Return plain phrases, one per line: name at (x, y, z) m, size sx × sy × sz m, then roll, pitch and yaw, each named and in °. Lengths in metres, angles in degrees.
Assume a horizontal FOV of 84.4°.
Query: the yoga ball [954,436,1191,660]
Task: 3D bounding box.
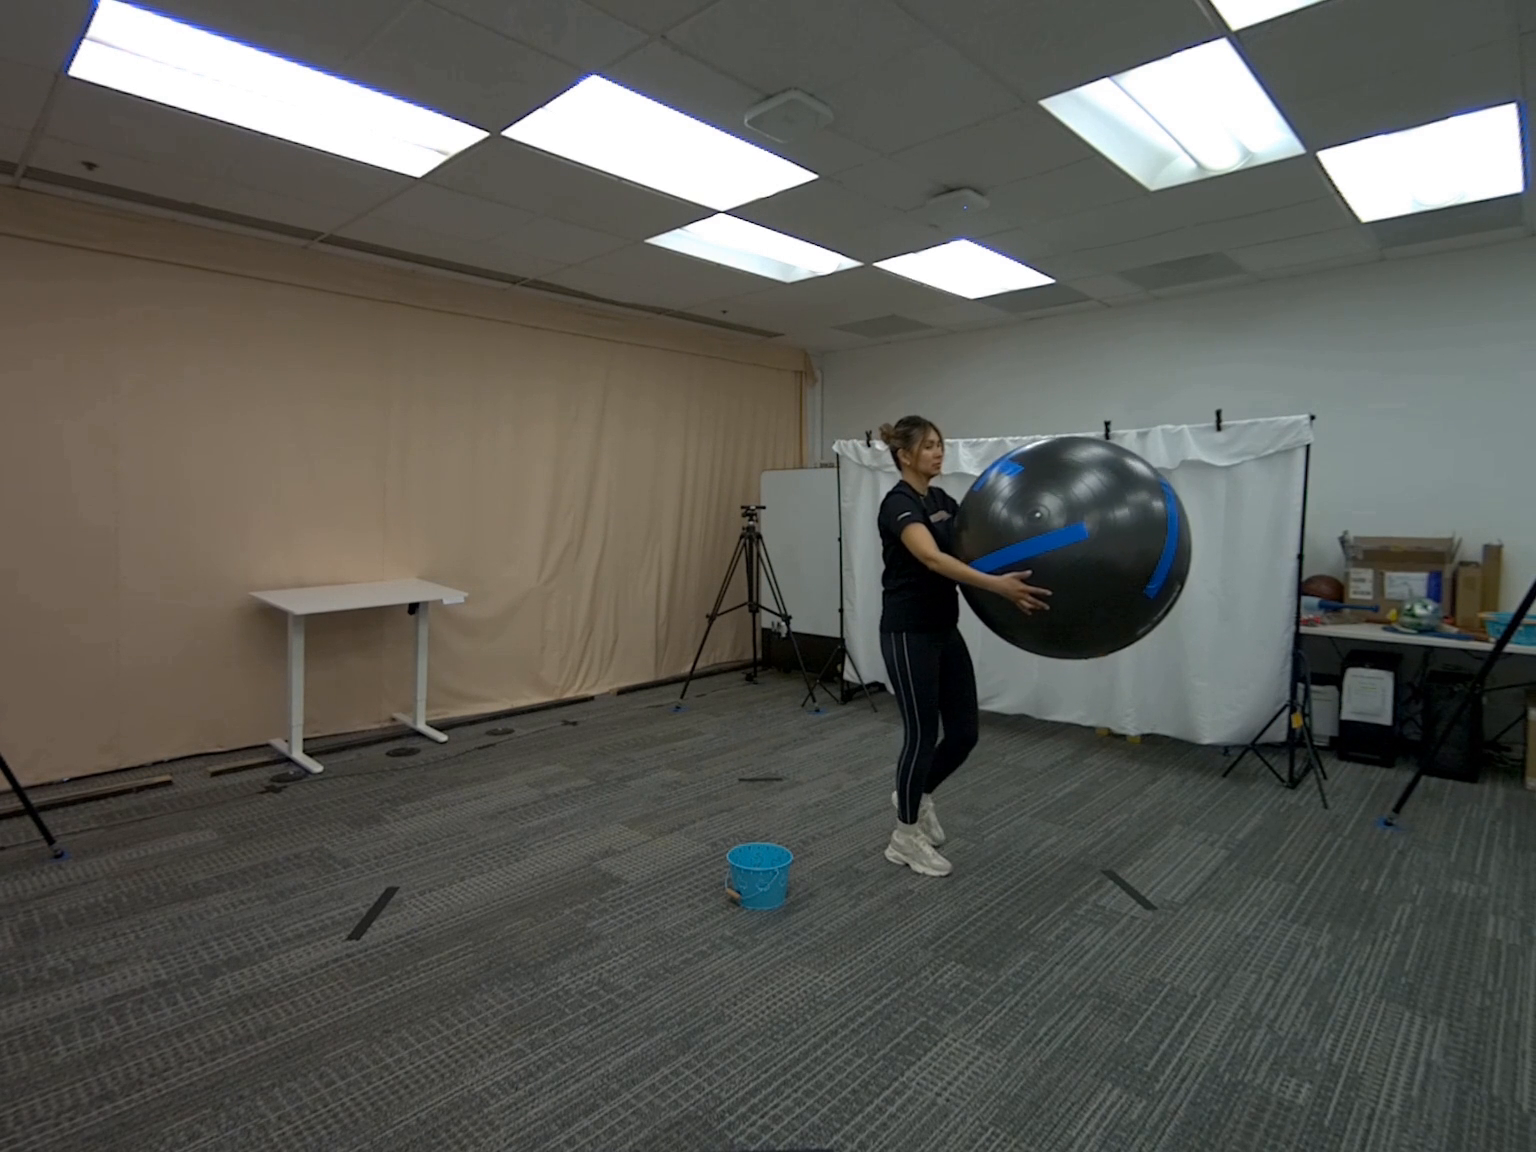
yoga ball at (1.036, -0.090, 2.885) m, size 0.757 × 0.756 × 0.761 m, roll 0°, pitch 4°, yaw -2°
